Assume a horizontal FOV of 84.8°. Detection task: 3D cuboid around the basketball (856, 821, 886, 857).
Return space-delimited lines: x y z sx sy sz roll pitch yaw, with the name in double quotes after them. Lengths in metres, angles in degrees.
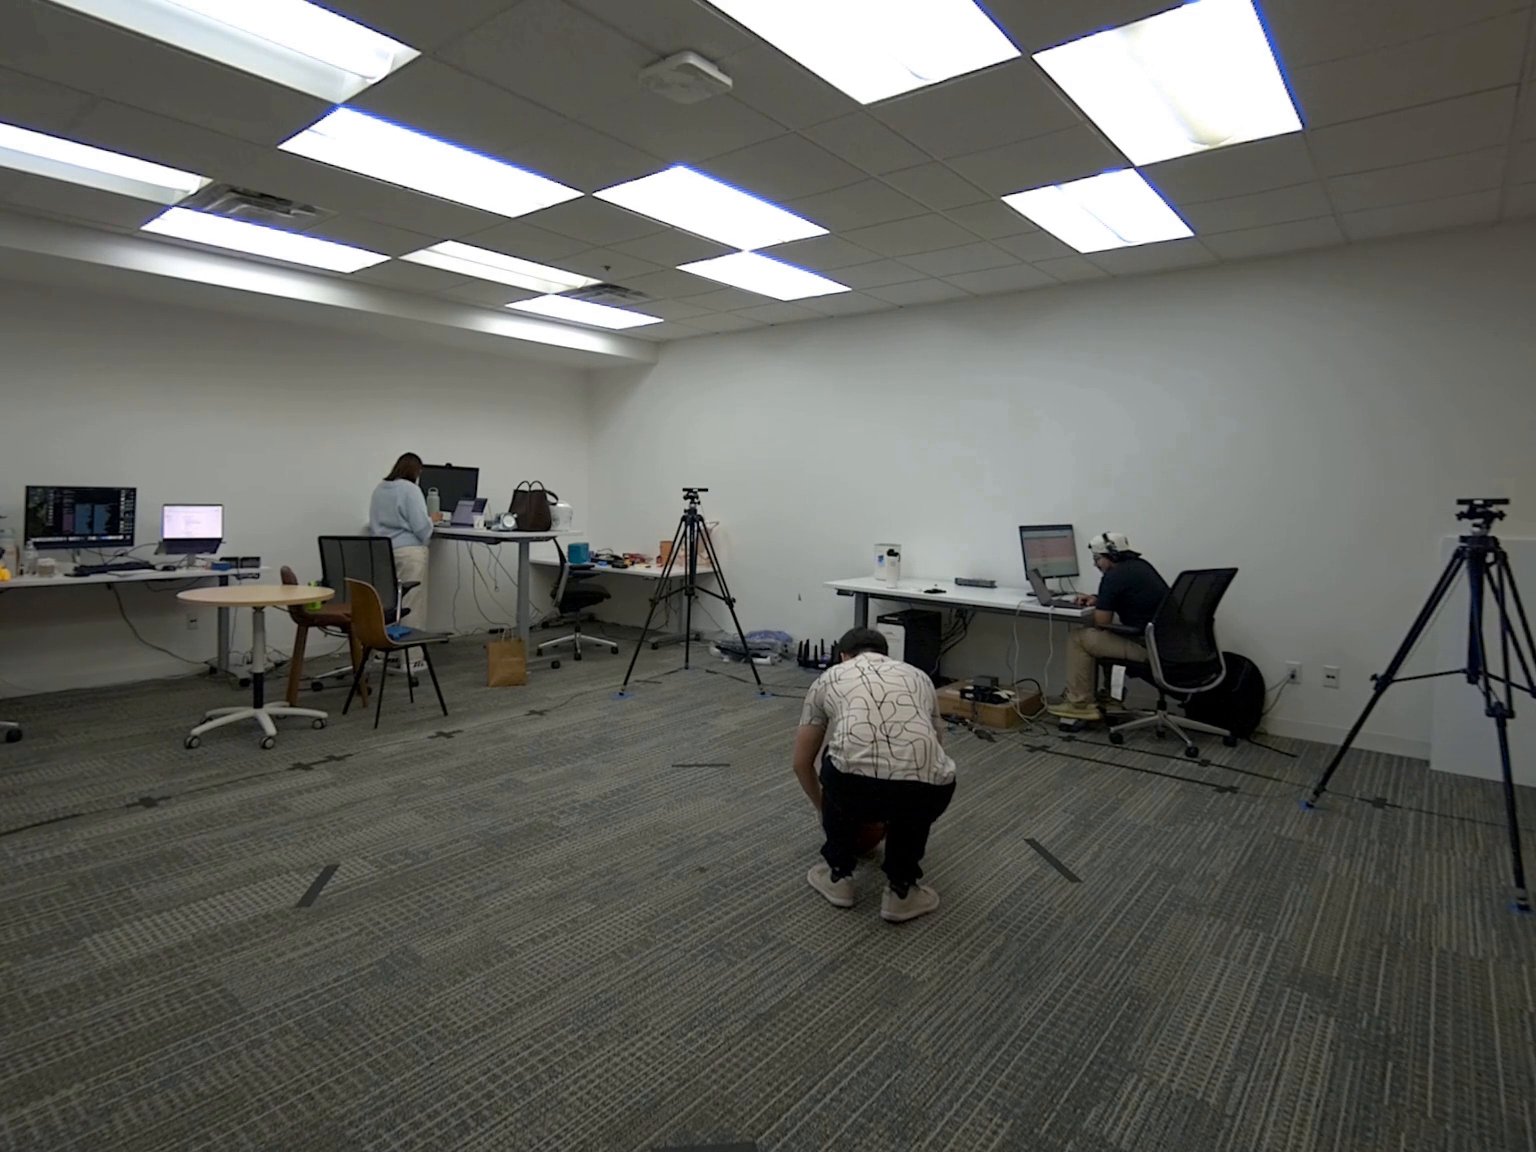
0.329 0.932 3.304 0.235 0.235 0.237 1 4 -2 "basketball"
